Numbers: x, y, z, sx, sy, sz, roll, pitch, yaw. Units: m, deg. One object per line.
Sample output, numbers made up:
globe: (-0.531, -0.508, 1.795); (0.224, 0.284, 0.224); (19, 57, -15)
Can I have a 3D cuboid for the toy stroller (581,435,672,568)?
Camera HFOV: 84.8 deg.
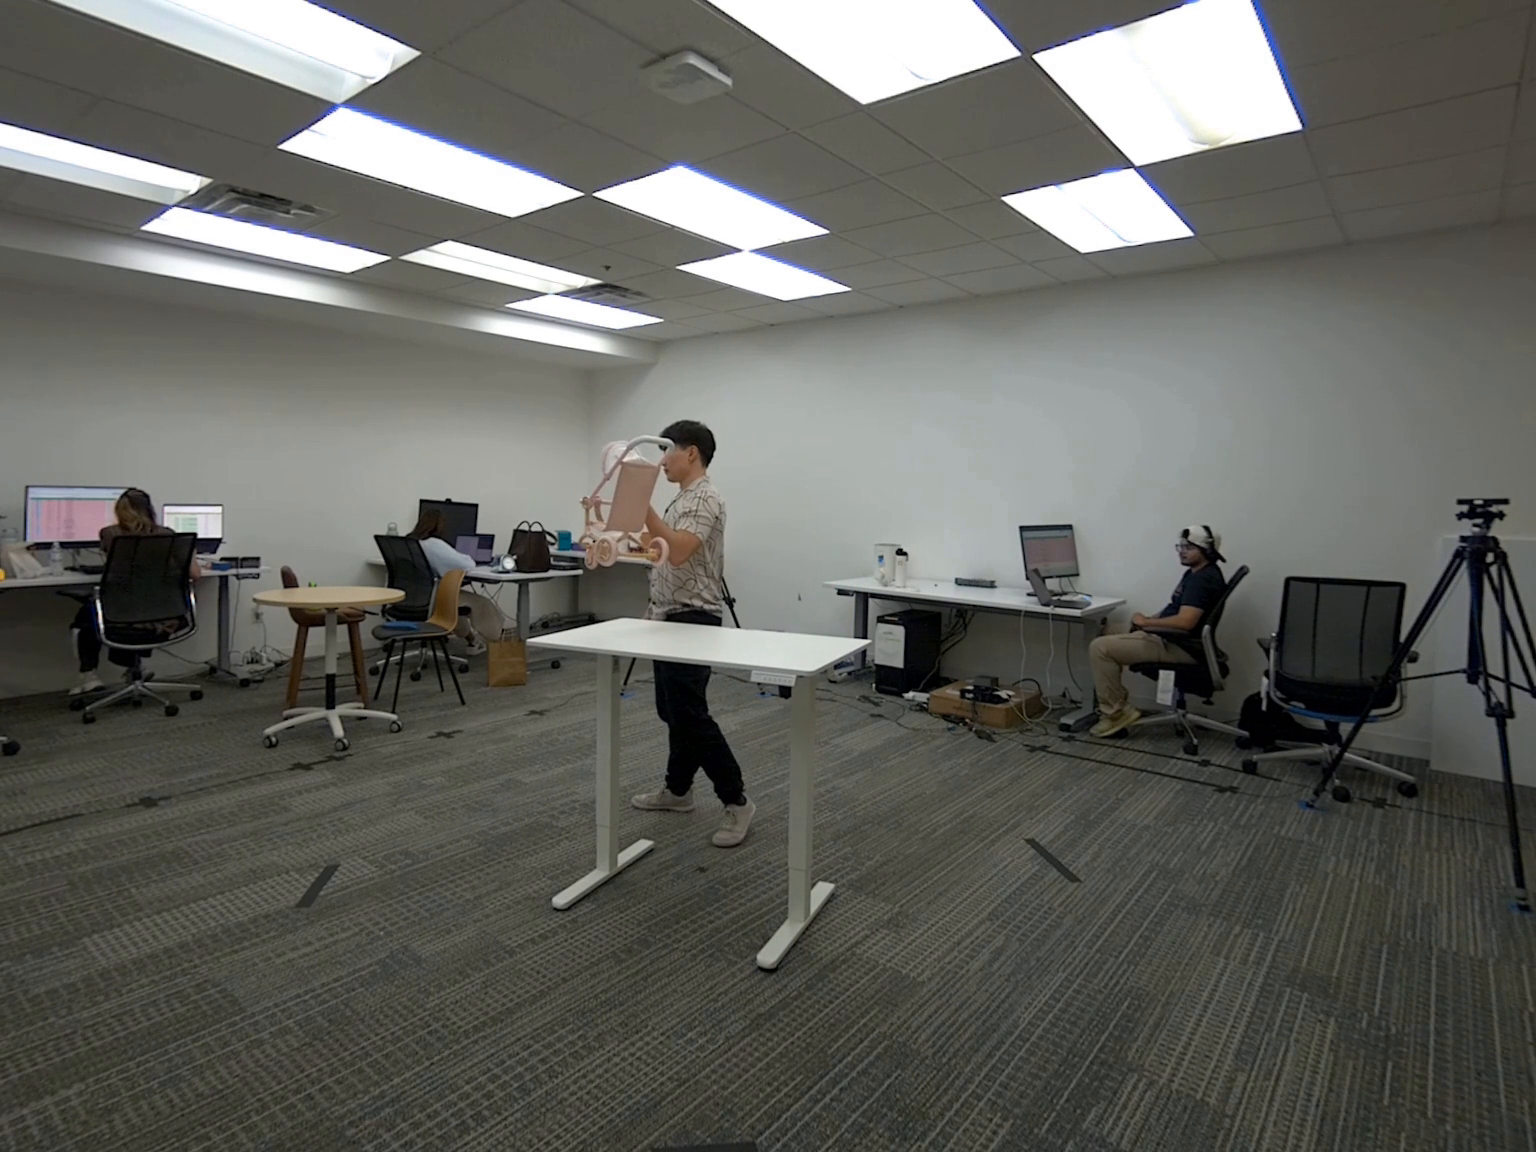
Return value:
toy stroller: (-0.560, -0.263, 3.165); (0.272, 0.532, 0.354); (2, 9, -44)
